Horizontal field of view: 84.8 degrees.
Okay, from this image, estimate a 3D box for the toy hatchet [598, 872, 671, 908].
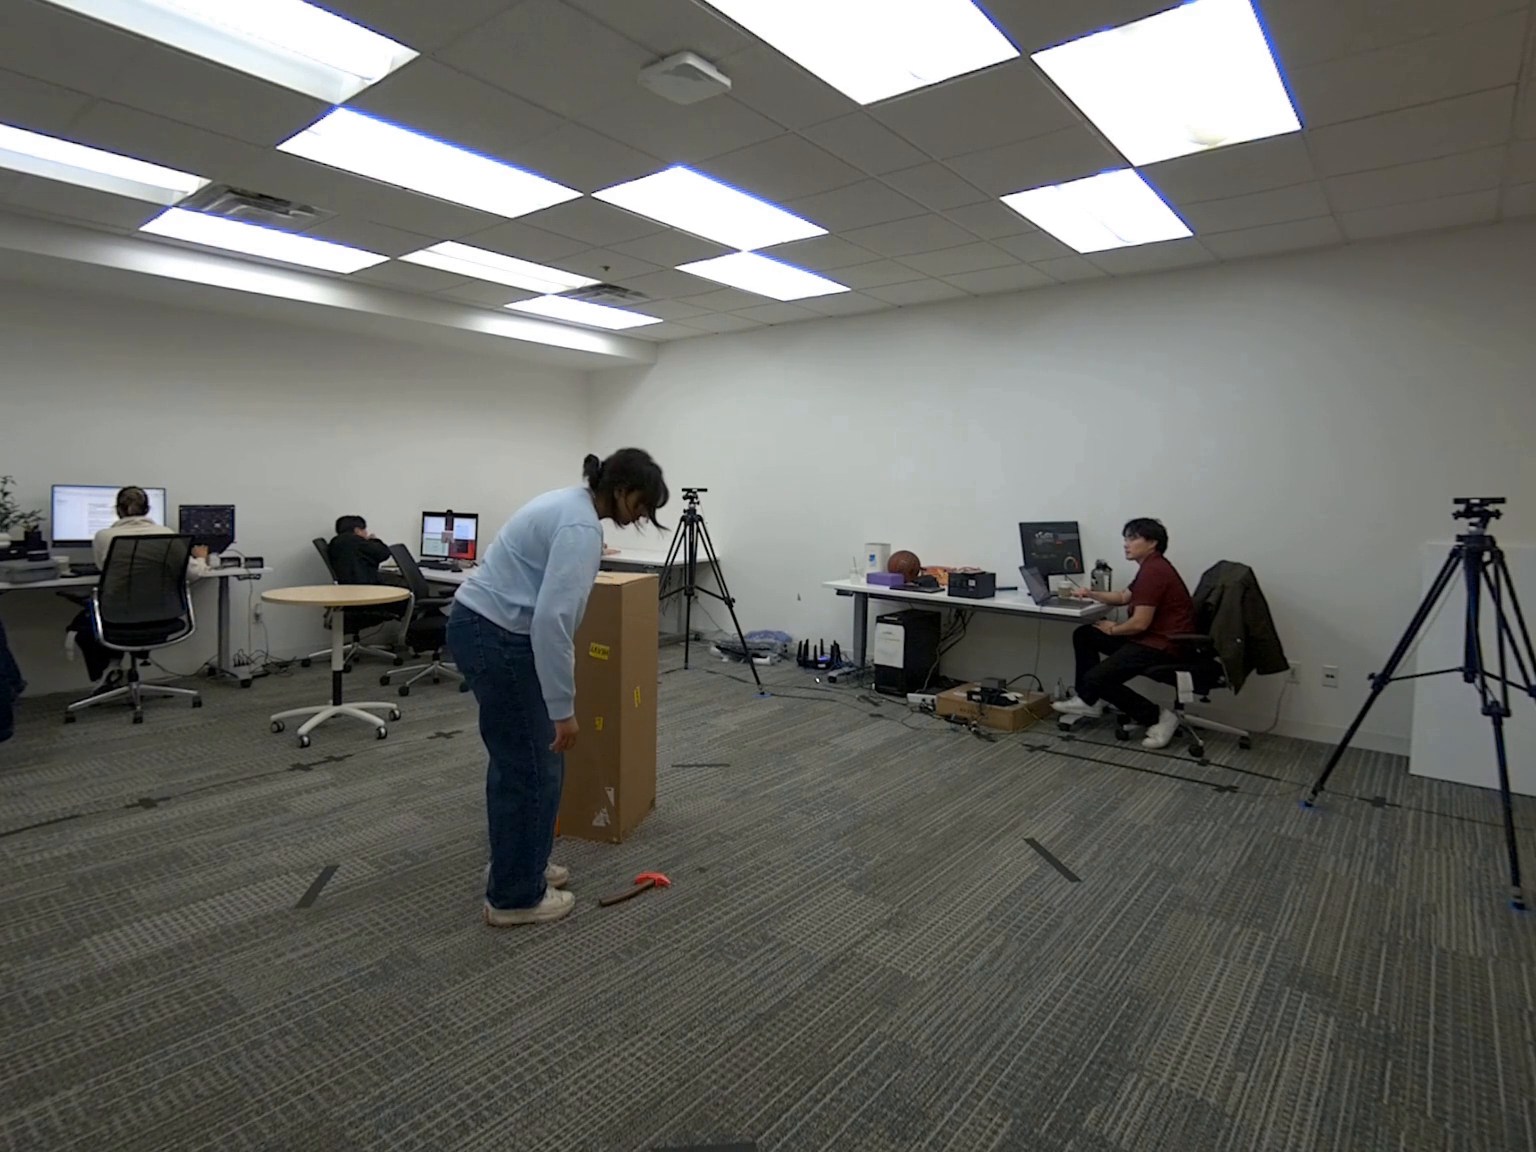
[{"bbox_3d":[-0.486,1.078,2.925,0.262,0.029,0.135,-5,9,-37],"label":"toy hatchet"}]
